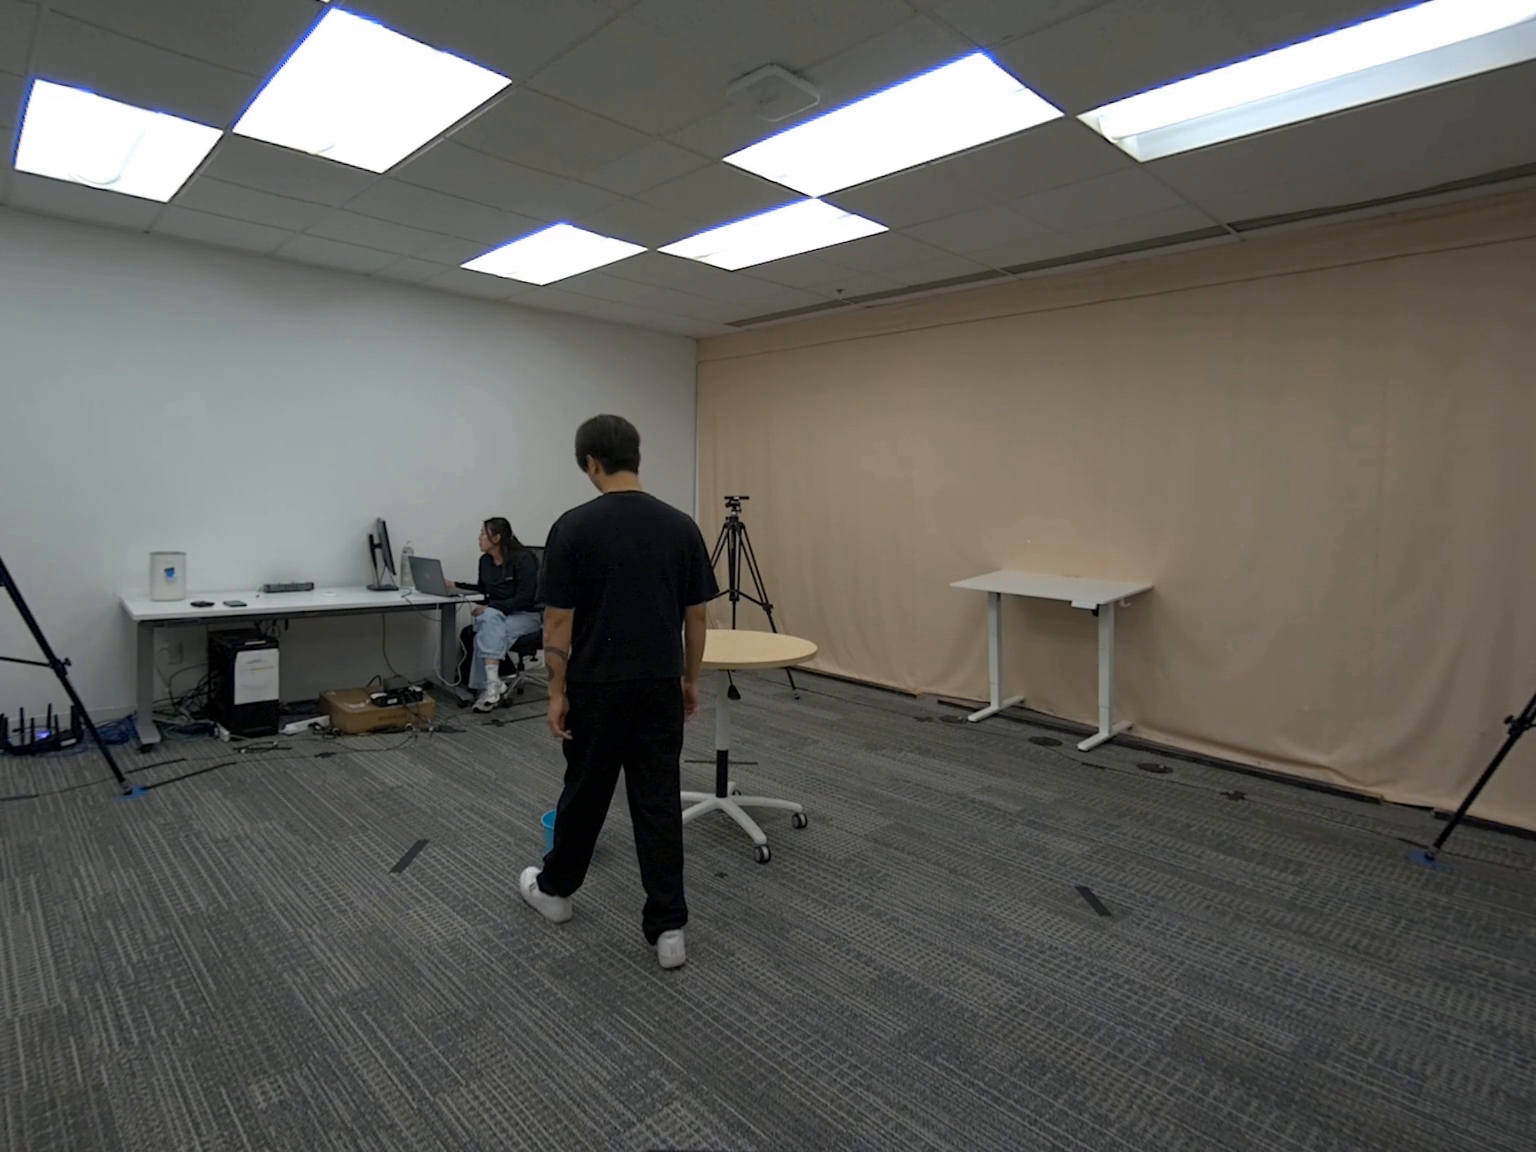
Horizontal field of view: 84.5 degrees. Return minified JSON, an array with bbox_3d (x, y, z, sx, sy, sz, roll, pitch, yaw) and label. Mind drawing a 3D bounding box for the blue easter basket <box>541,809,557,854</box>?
[{"bbox_3d":[-0.755,1.003,3.233,0.243,0.155,0.244,3,4,-2],"label":"blue easter basket"}]
